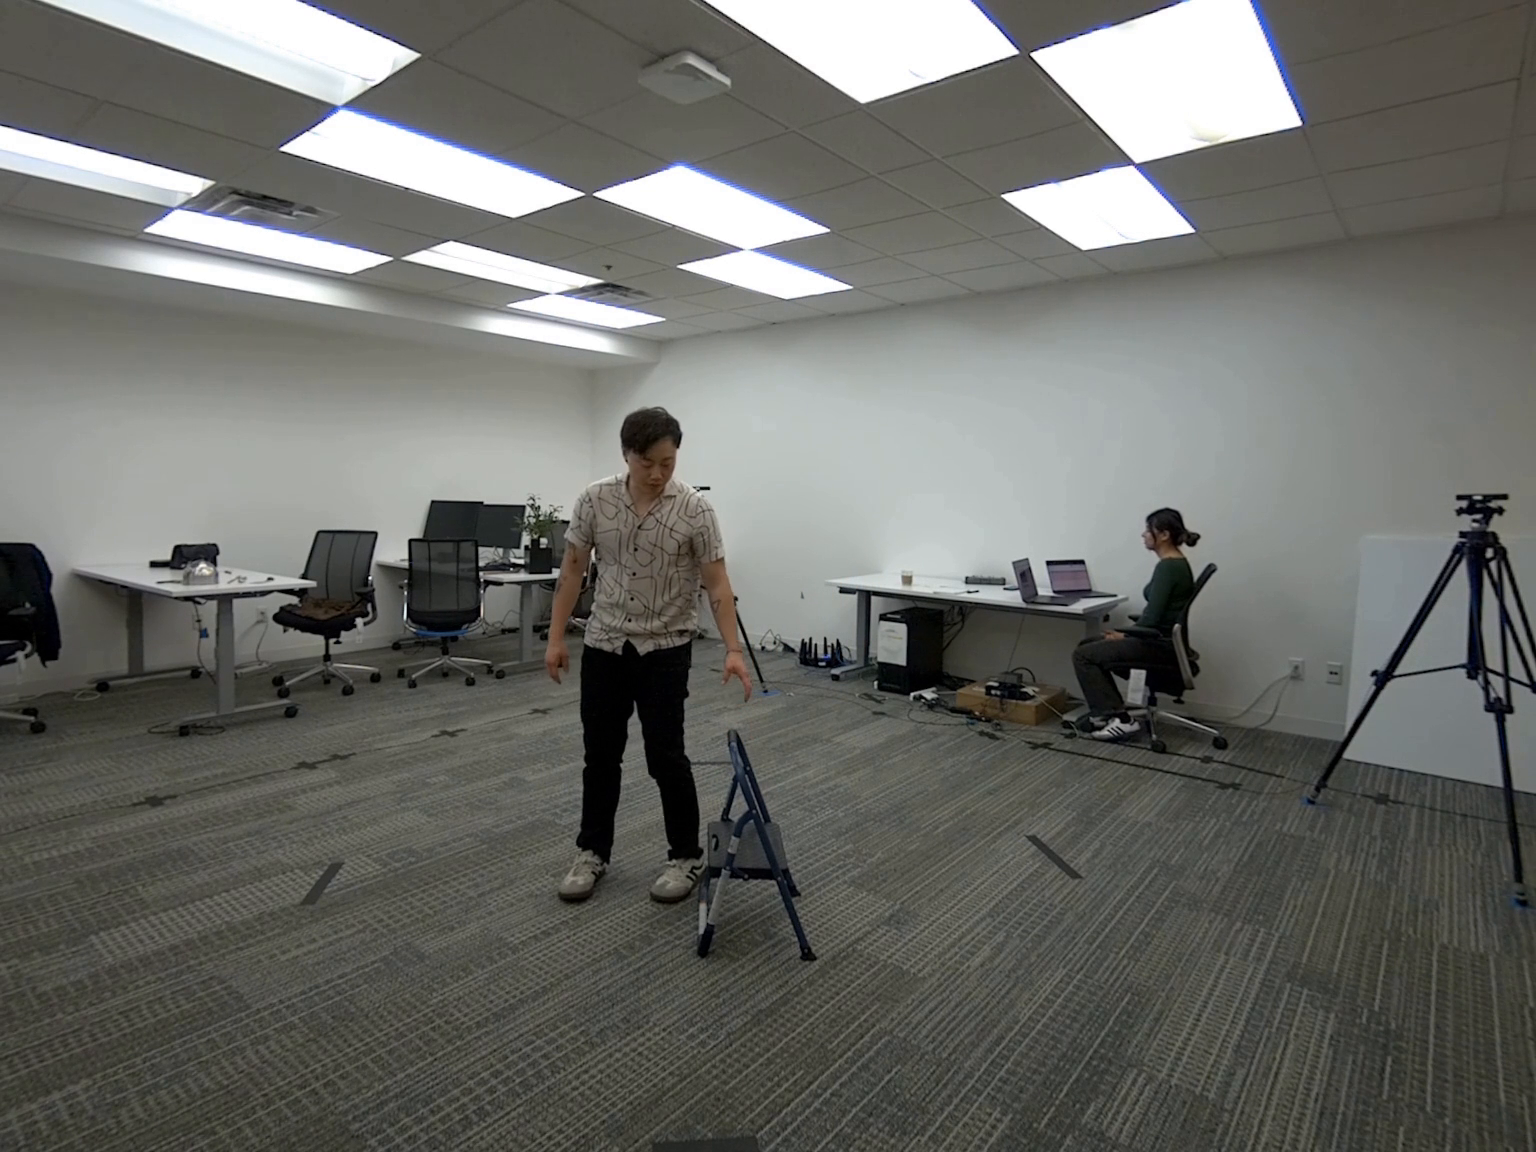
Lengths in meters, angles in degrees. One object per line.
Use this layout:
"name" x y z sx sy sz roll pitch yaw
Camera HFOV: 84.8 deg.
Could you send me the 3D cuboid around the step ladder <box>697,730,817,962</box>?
"step ladder" -0.052 0.807 2.698 0.348 0.604 0.433 1 4 -4
